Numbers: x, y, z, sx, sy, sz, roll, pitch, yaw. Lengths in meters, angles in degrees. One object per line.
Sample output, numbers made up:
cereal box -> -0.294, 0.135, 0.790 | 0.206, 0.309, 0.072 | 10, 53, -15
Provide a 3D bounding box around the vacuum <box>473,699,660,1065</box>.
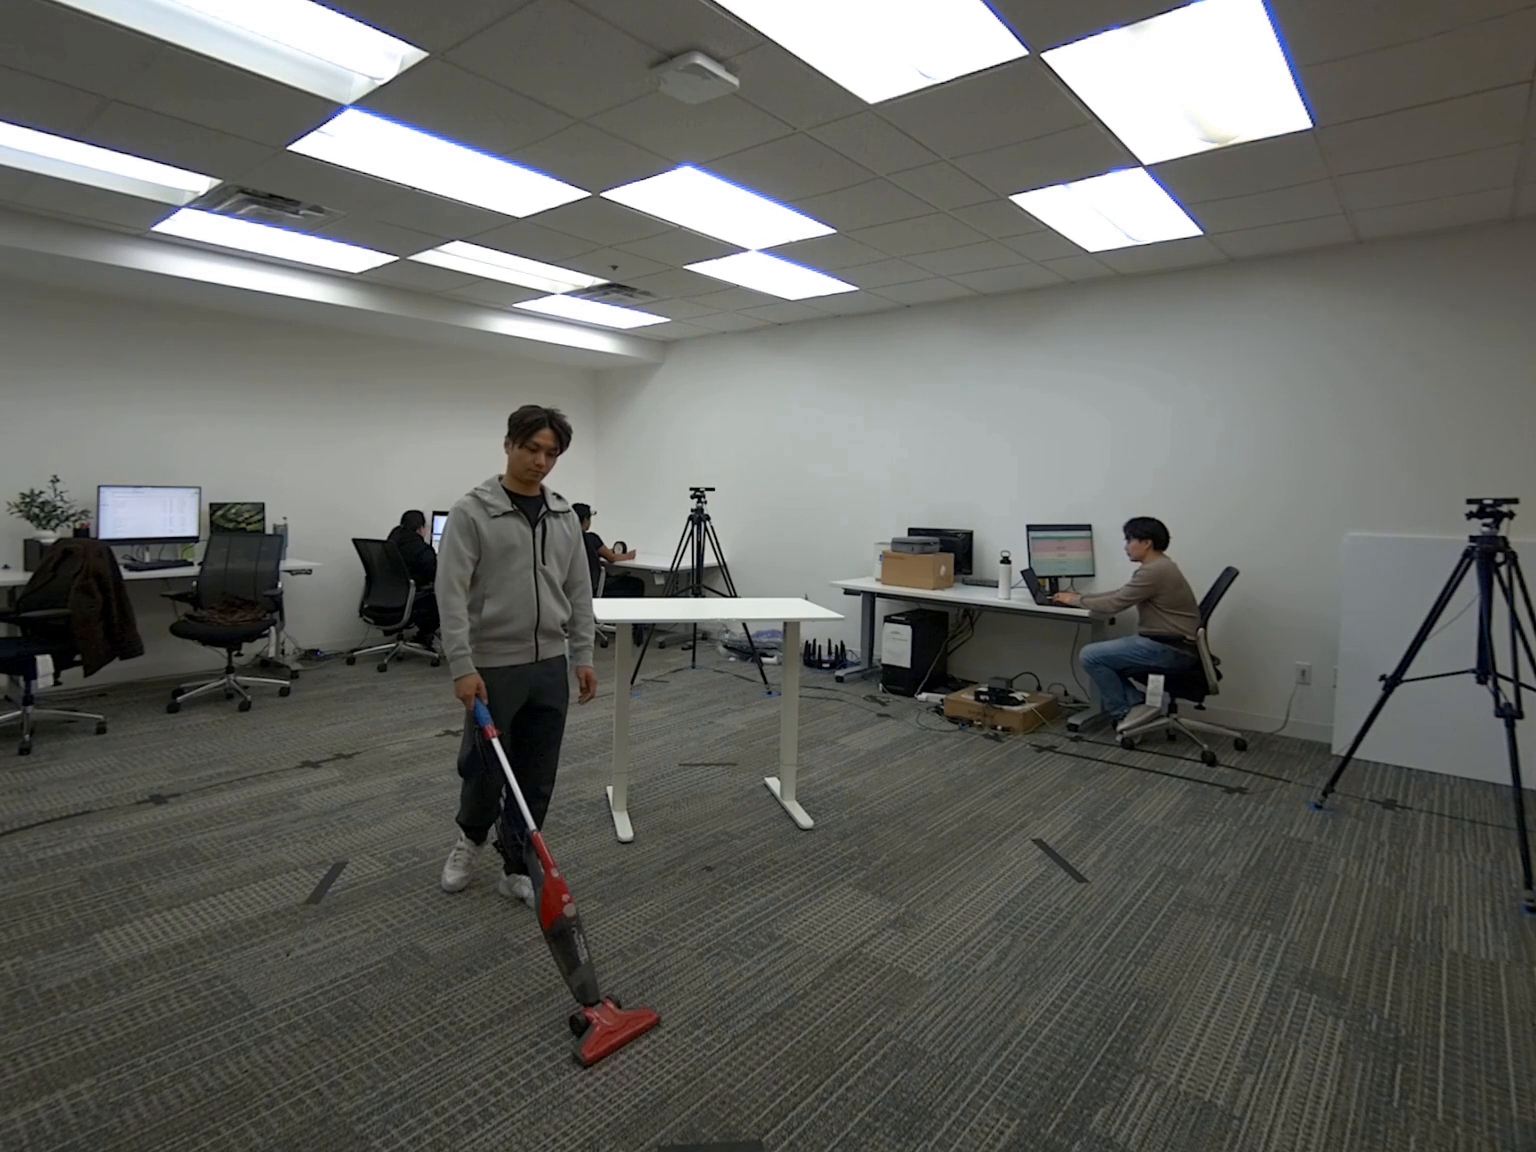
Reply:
vacuum -> -0.671, 0.737, 2.383 | 0.245, 1.082, 0.144 | -1, -39, -49
